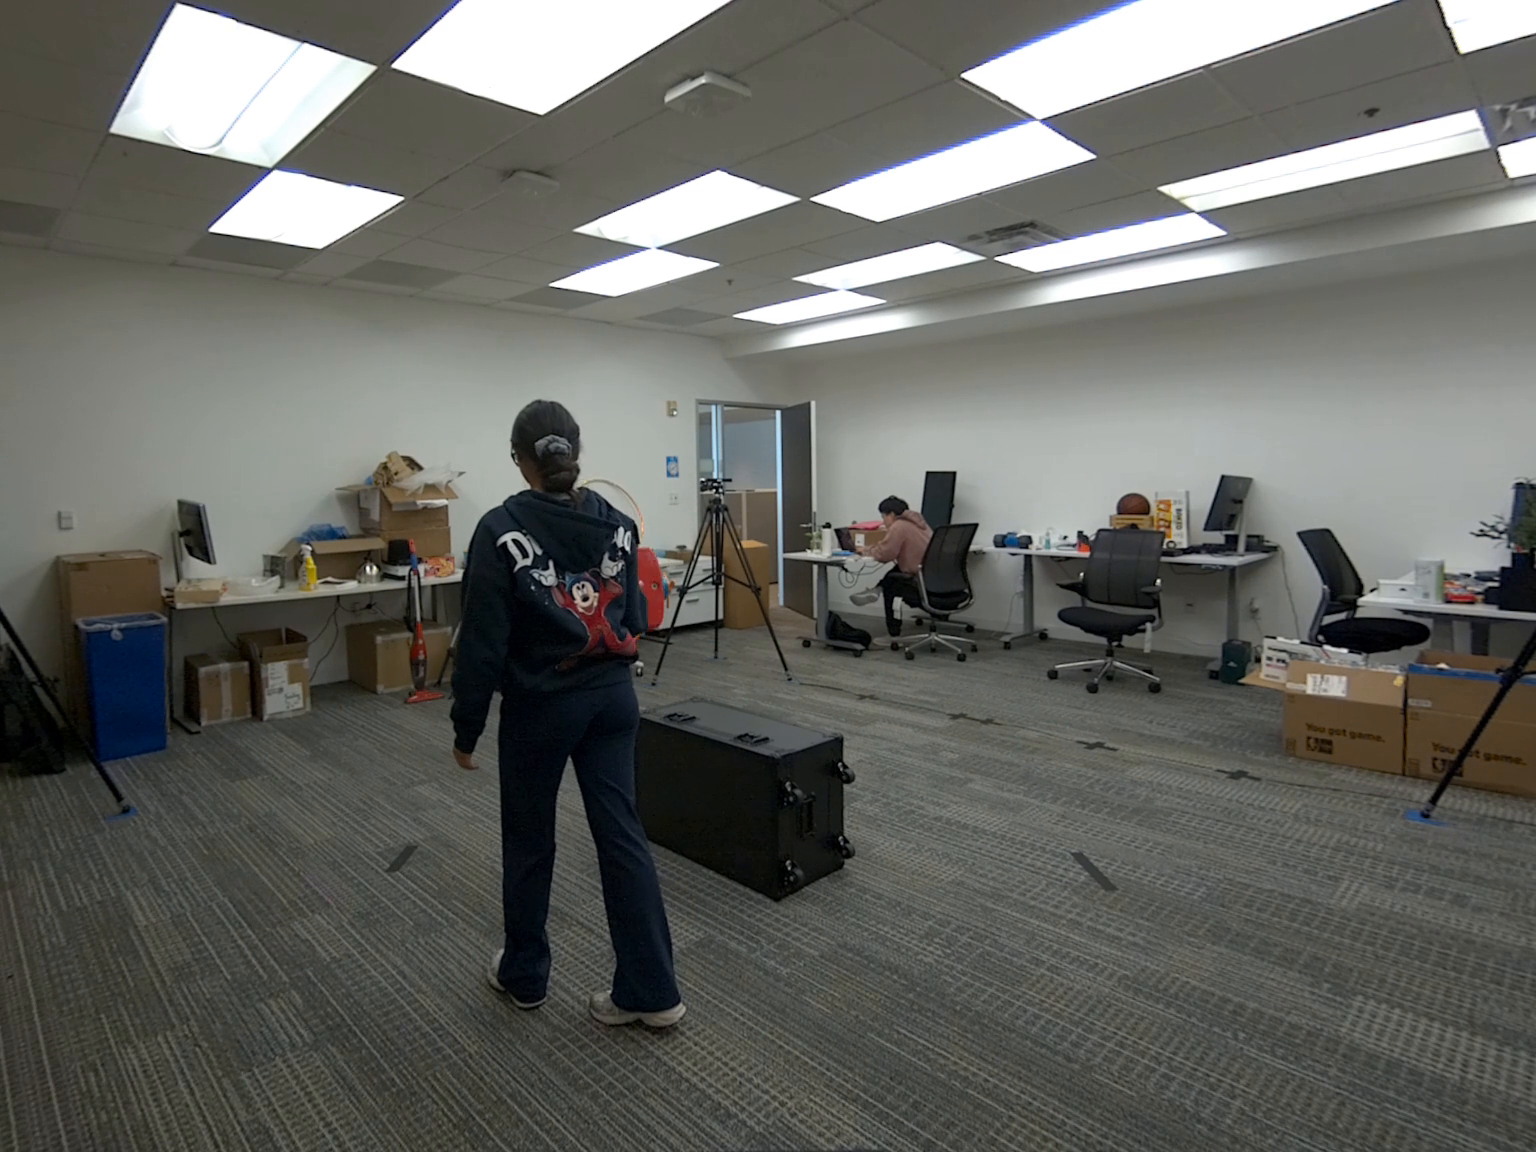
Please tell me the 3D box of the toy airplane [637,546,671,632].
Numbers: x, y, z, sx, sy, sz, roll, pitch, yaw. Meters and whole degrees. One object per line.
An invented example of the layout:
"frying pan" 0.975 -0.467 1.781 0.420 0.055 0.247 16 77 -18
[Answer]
"toy airplane" -0.438 0.066 2.694 0.257 0.249 0.159 -36 9 -38
